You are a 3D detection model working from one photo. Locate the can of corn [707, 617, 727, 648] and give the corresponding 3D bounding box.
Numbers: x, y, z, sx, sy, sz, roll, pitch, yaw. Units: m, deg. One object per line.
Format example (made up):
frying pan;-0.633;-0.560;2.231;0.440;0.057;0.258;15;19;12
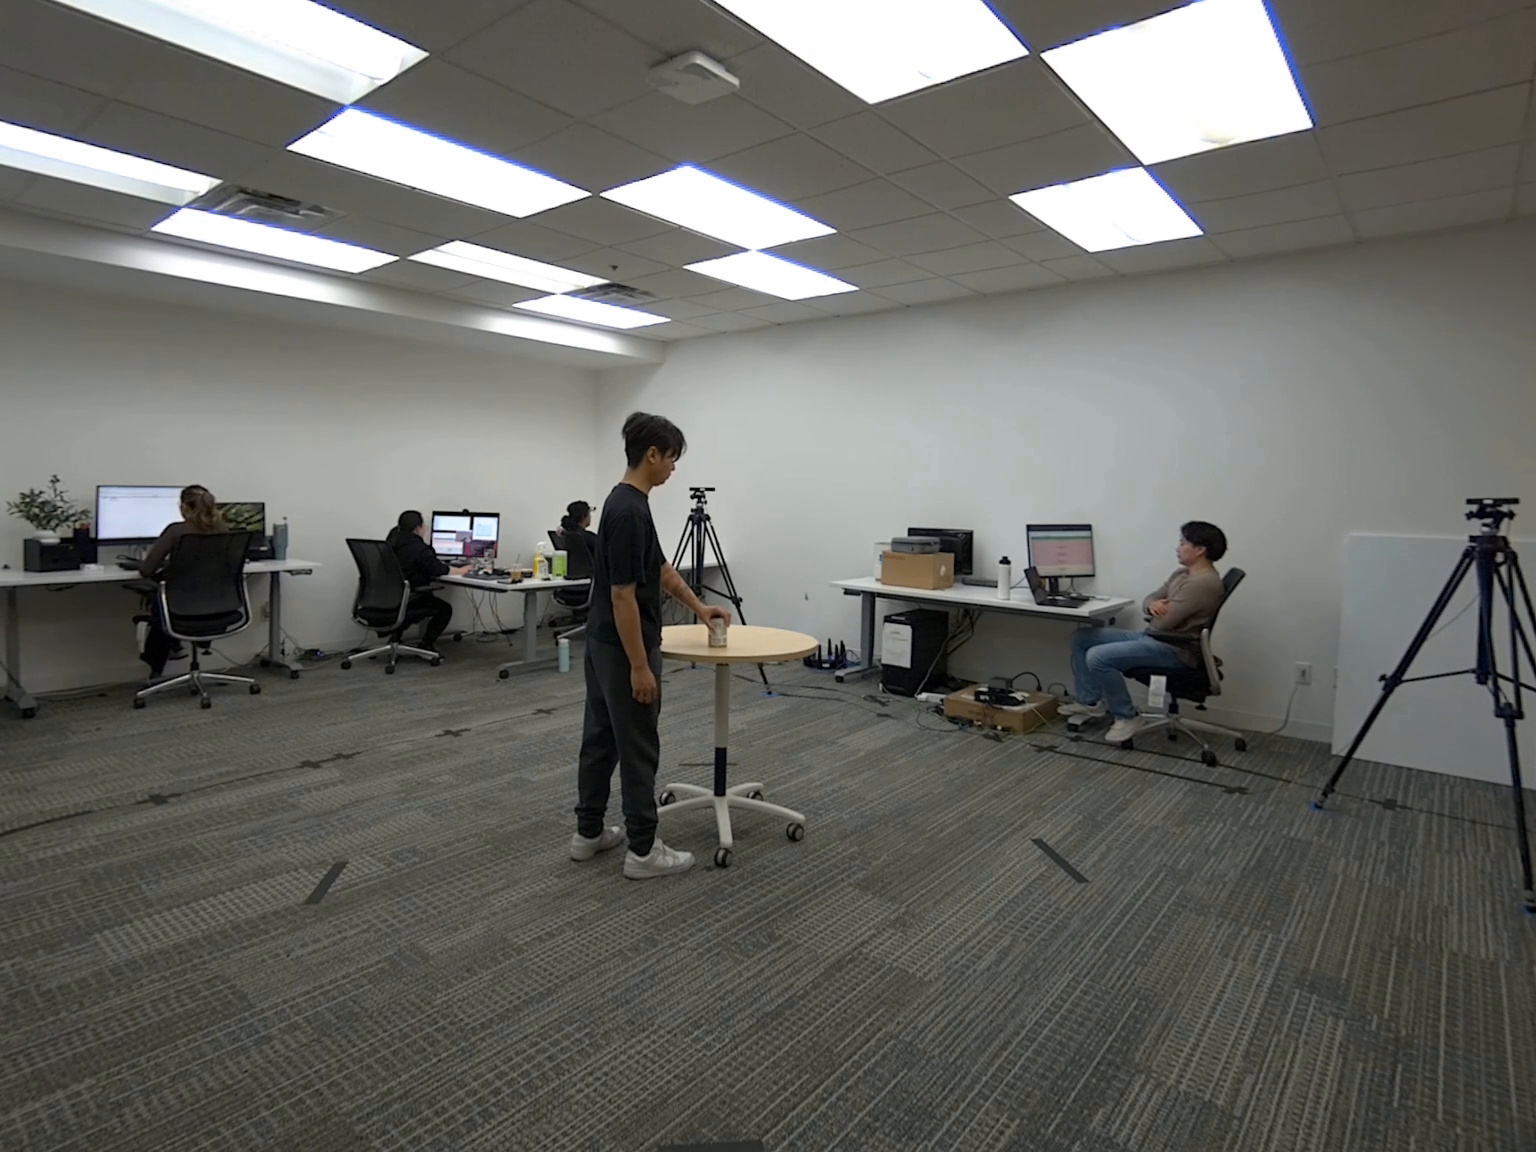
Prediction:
can of corn;-0.203;0.216;3.269;0.074;0.110;0.074;-4;5;-1
